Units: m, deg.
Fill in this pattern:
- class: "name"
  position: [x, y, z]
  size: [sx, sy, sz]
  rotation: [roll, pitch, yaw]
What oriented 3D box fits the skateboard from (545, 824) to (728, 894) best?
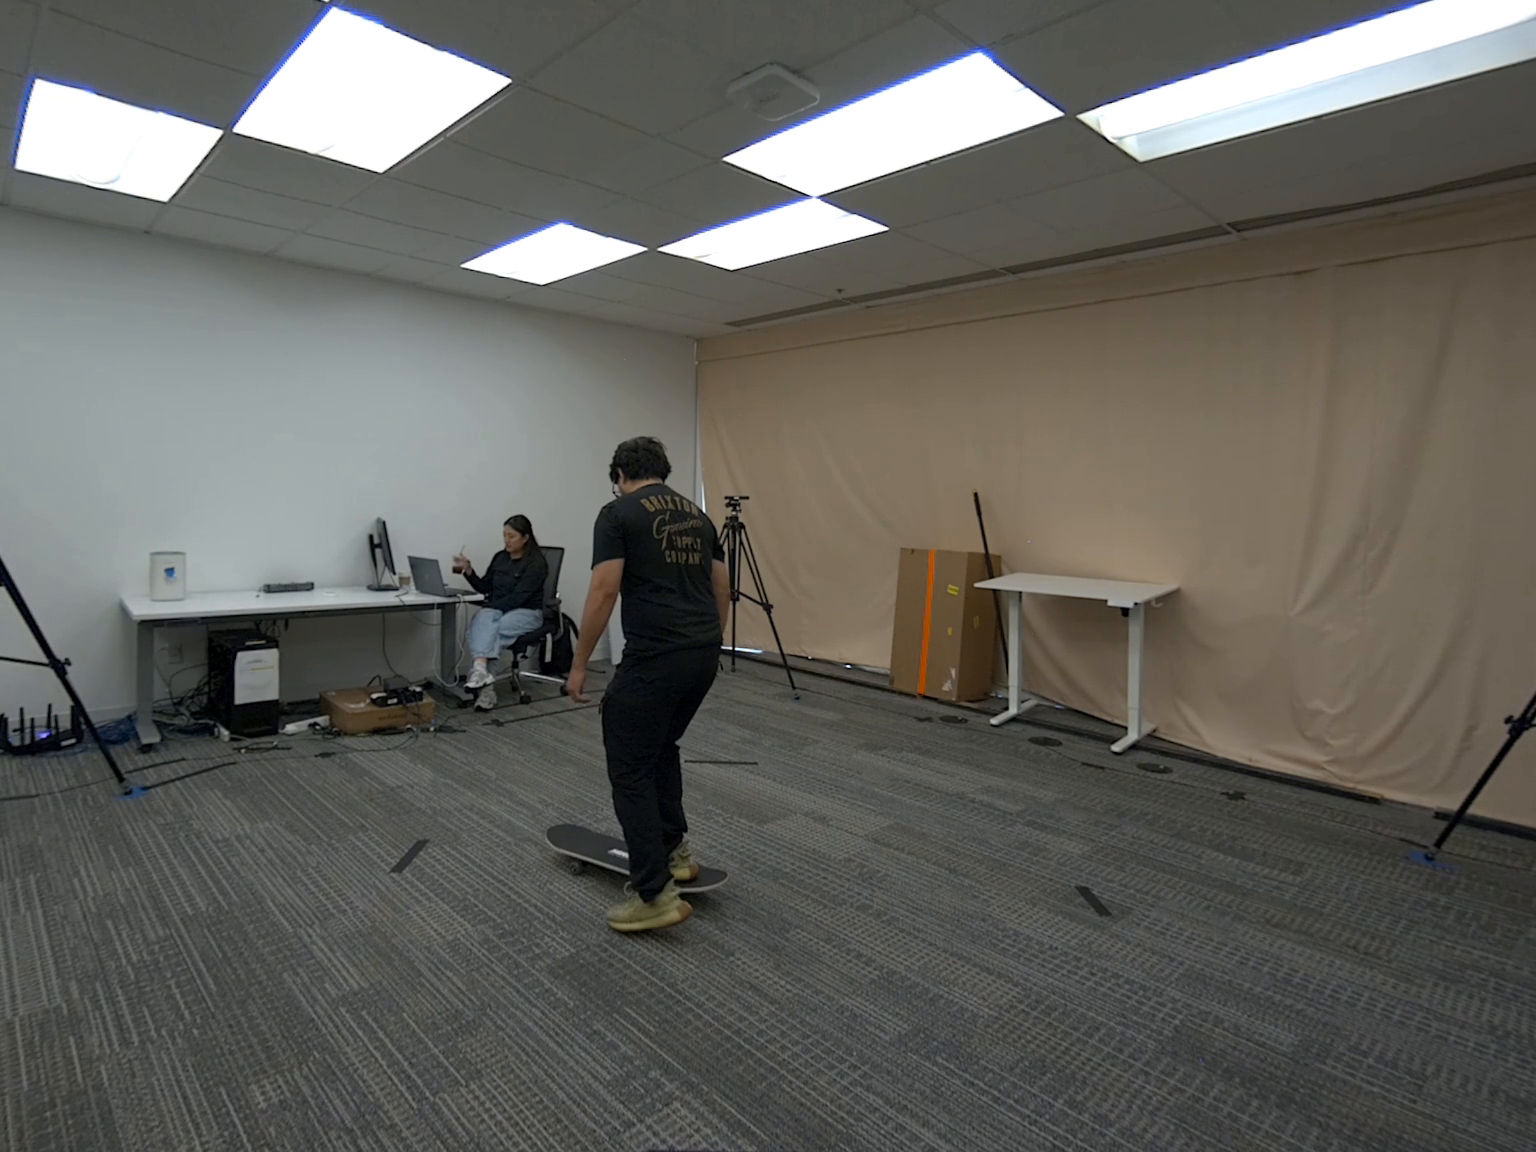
- class: "skateboard"
  position: [-0.501, 1.052, 3.033]
  size: [0.803, 0.110, 0.190]
  rotation: [5, 7, 31]
